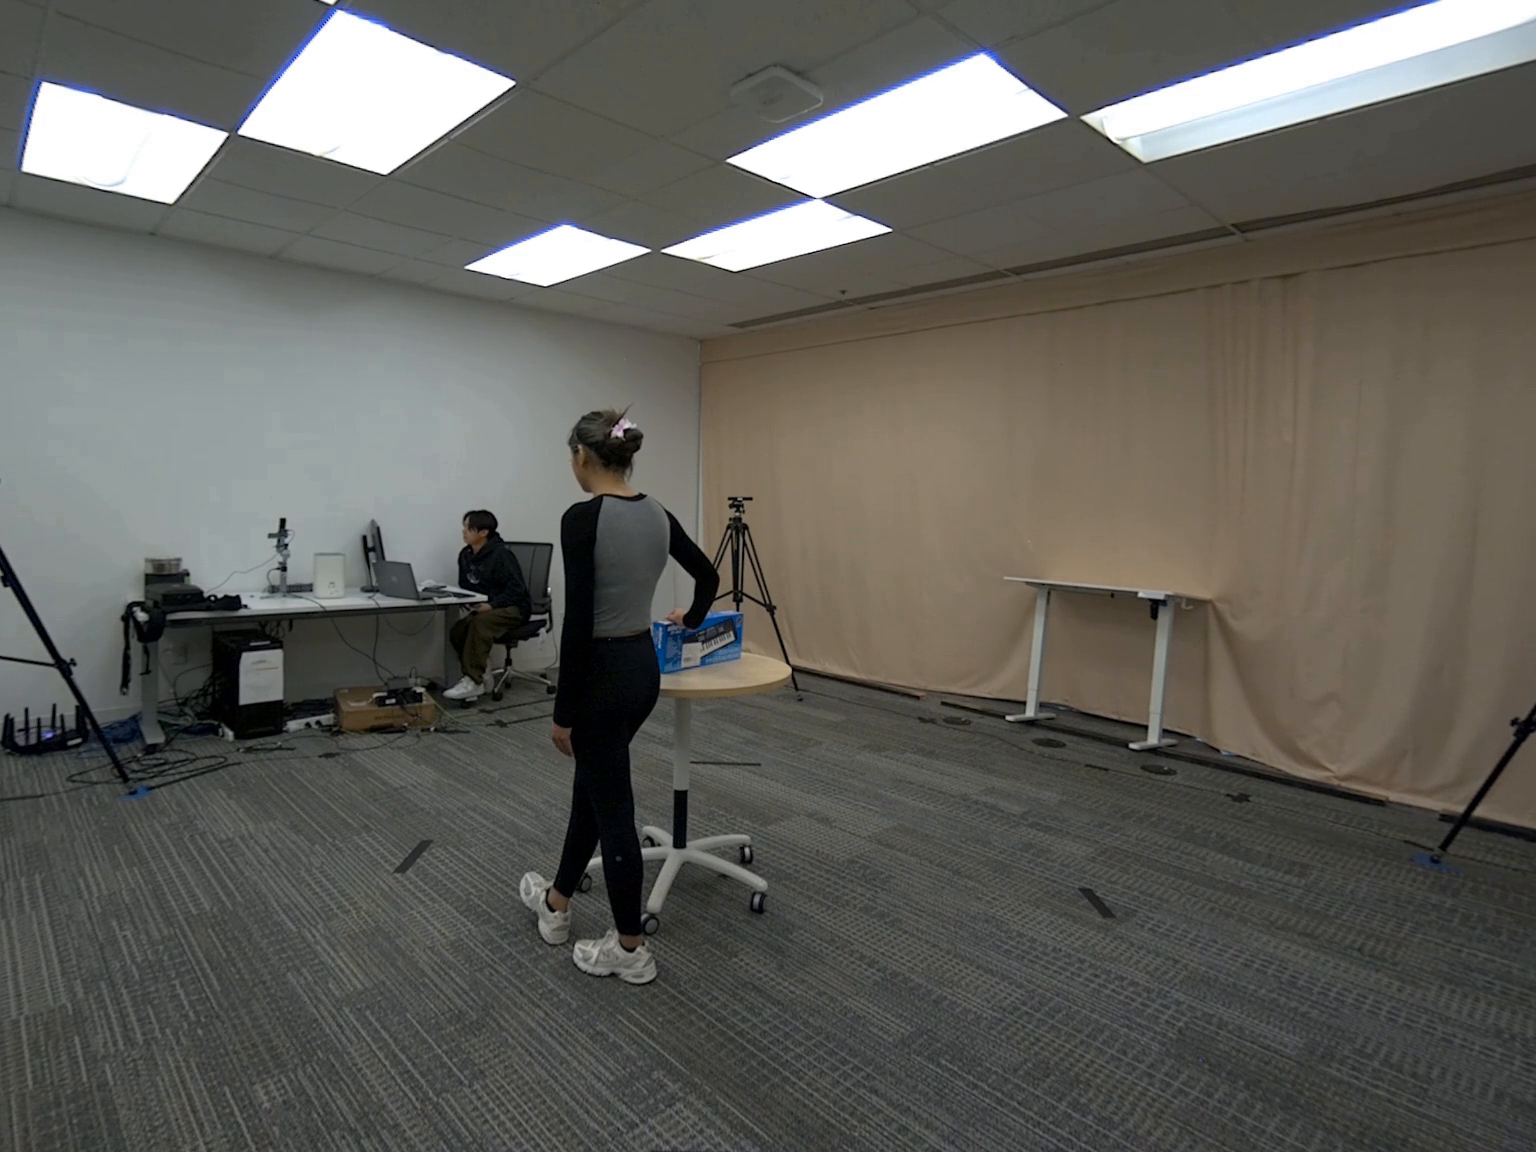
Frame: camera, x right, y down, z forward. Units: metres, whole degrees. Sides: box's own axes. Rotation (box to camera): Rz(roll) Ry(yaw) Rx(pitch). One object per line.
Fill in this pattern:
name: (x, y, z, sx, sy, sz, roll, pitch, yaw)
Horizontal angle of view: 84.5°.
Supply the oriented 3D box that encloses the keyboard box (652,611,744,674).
keyboard box: (-0.251, 0.235, 3.011, 0.060, 0.175, 0.427, 7, 7, 35)
